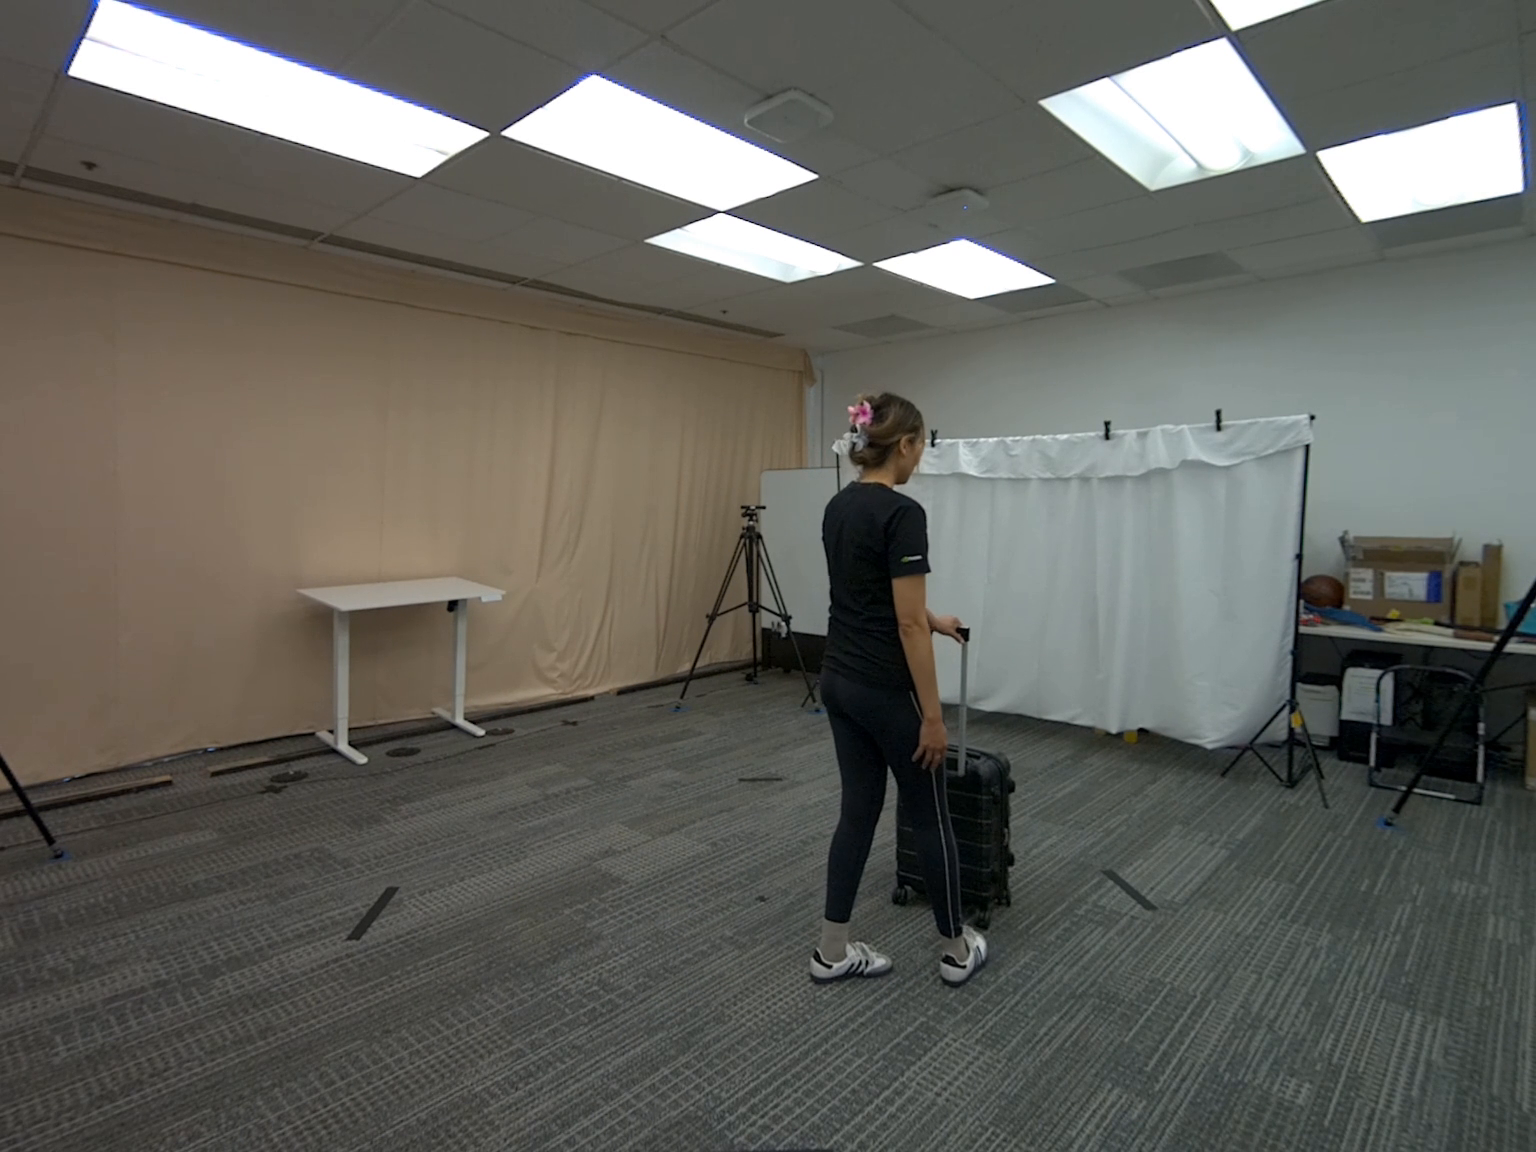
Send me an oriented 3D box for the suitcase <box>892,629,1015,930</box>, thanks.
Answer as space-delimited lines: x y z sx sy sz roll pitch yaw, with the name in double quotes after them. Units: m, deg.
0.661 0.665 2.957 0.396 0.979 0.249 1 -1 36 "suitcase"
